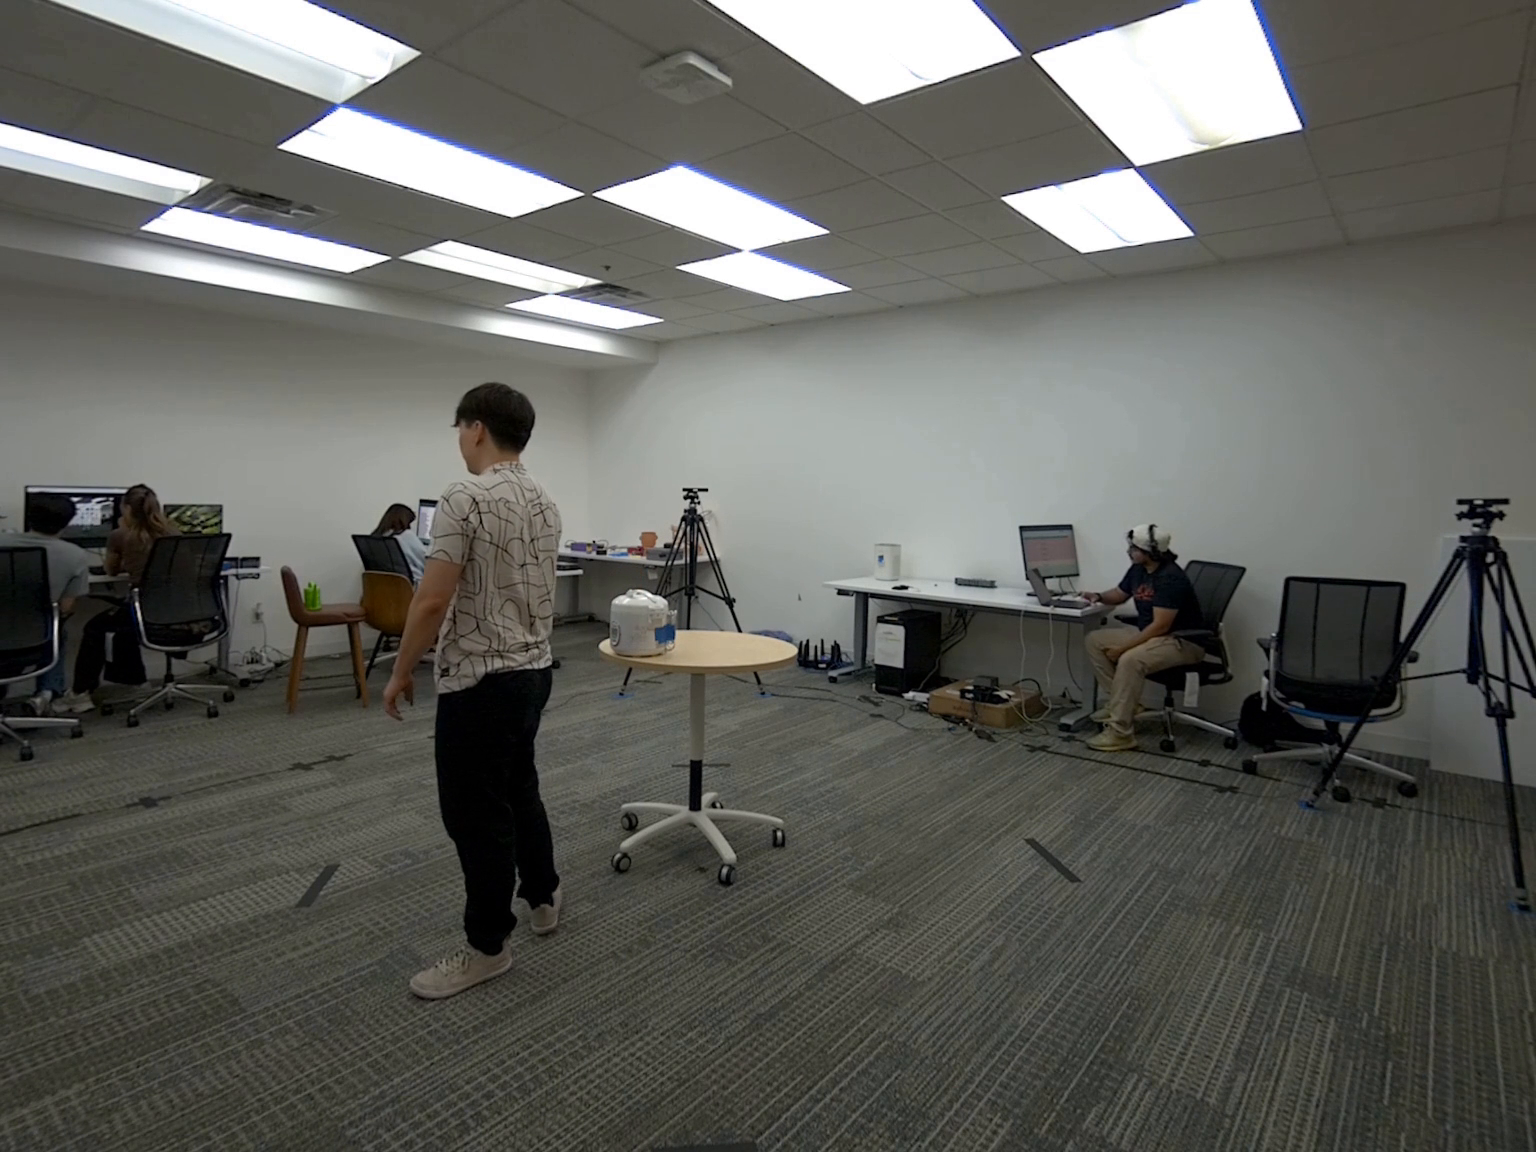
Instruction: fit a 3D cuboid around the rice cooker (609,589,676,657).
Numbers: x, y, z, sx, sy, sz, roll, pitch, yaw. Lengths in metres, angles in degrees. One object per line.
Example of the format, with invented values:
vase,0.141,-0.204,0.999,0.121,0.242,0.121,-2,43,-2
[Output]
rice cooker,-0.478,0.162,3.113,0.211,0.232,0.228,-2,5,-42
